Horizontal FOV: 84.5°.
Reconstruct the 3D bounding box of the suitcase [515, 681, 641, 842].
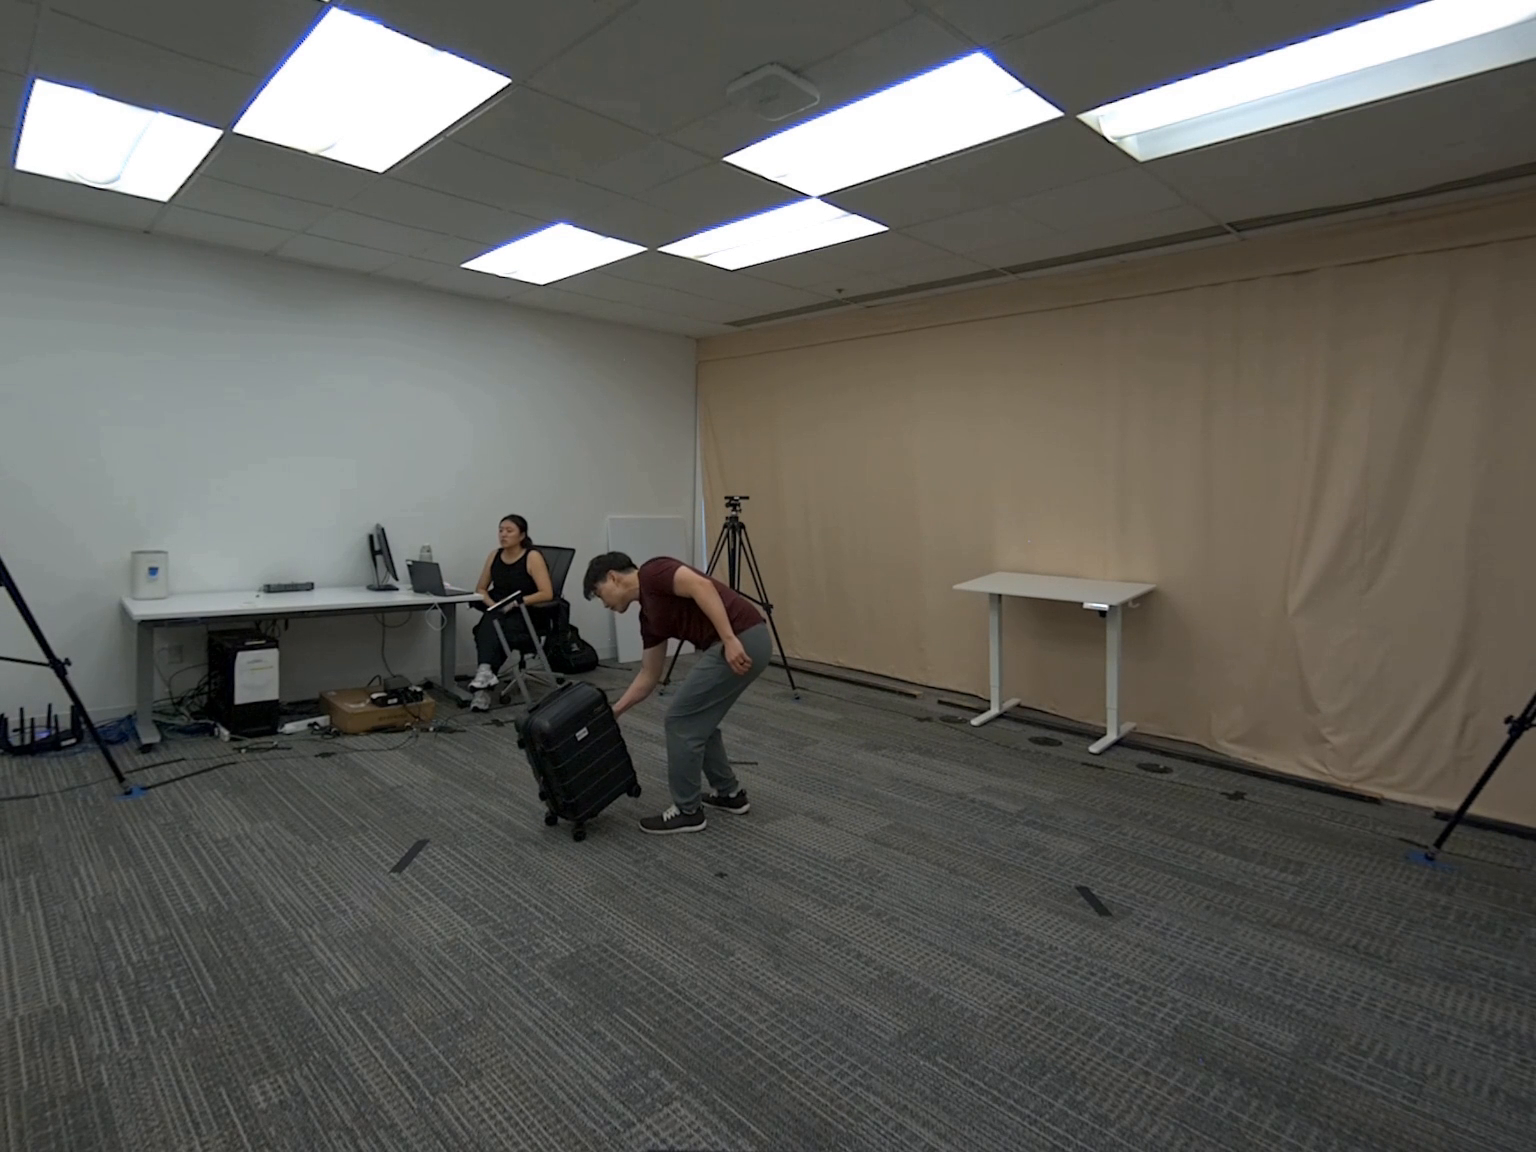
[{"bbox_3d":[-0.848,0.552,3.406,0.264,0.961,0.380,8,29,44],"label":"suitcase"}]
